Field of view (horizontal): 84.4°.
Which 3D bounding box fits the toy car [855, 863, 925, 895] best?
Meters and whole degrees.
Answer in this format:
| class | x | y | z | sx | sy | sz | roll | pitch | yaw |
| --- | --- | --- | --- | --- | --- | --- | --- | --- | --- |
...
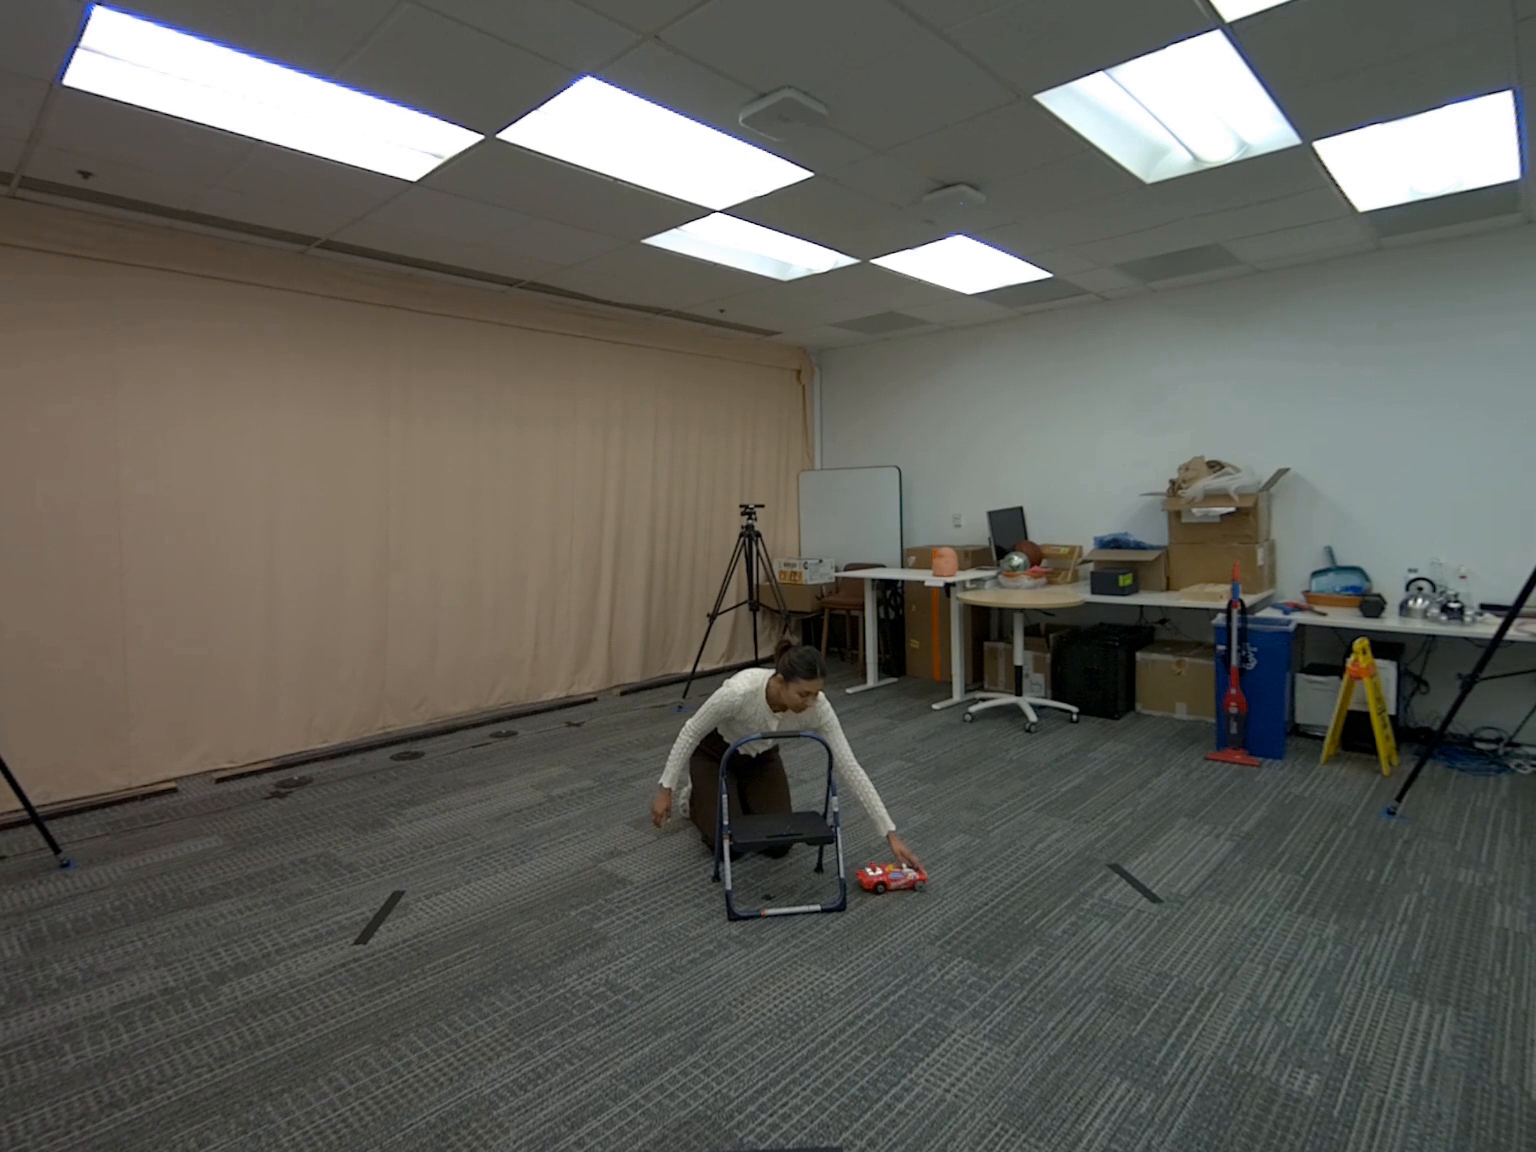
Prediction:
| class | x | y | z | sx | sy | sz | roll | pitch | yaw |
| --- | --- | --- | --- | --- | --- | --- | --- | --- | --- |
| toy car | 0.422 | 1.094 | 3.040 | 0.253 | 0.083 | 0.131 | 11 | 3 | -6 |
